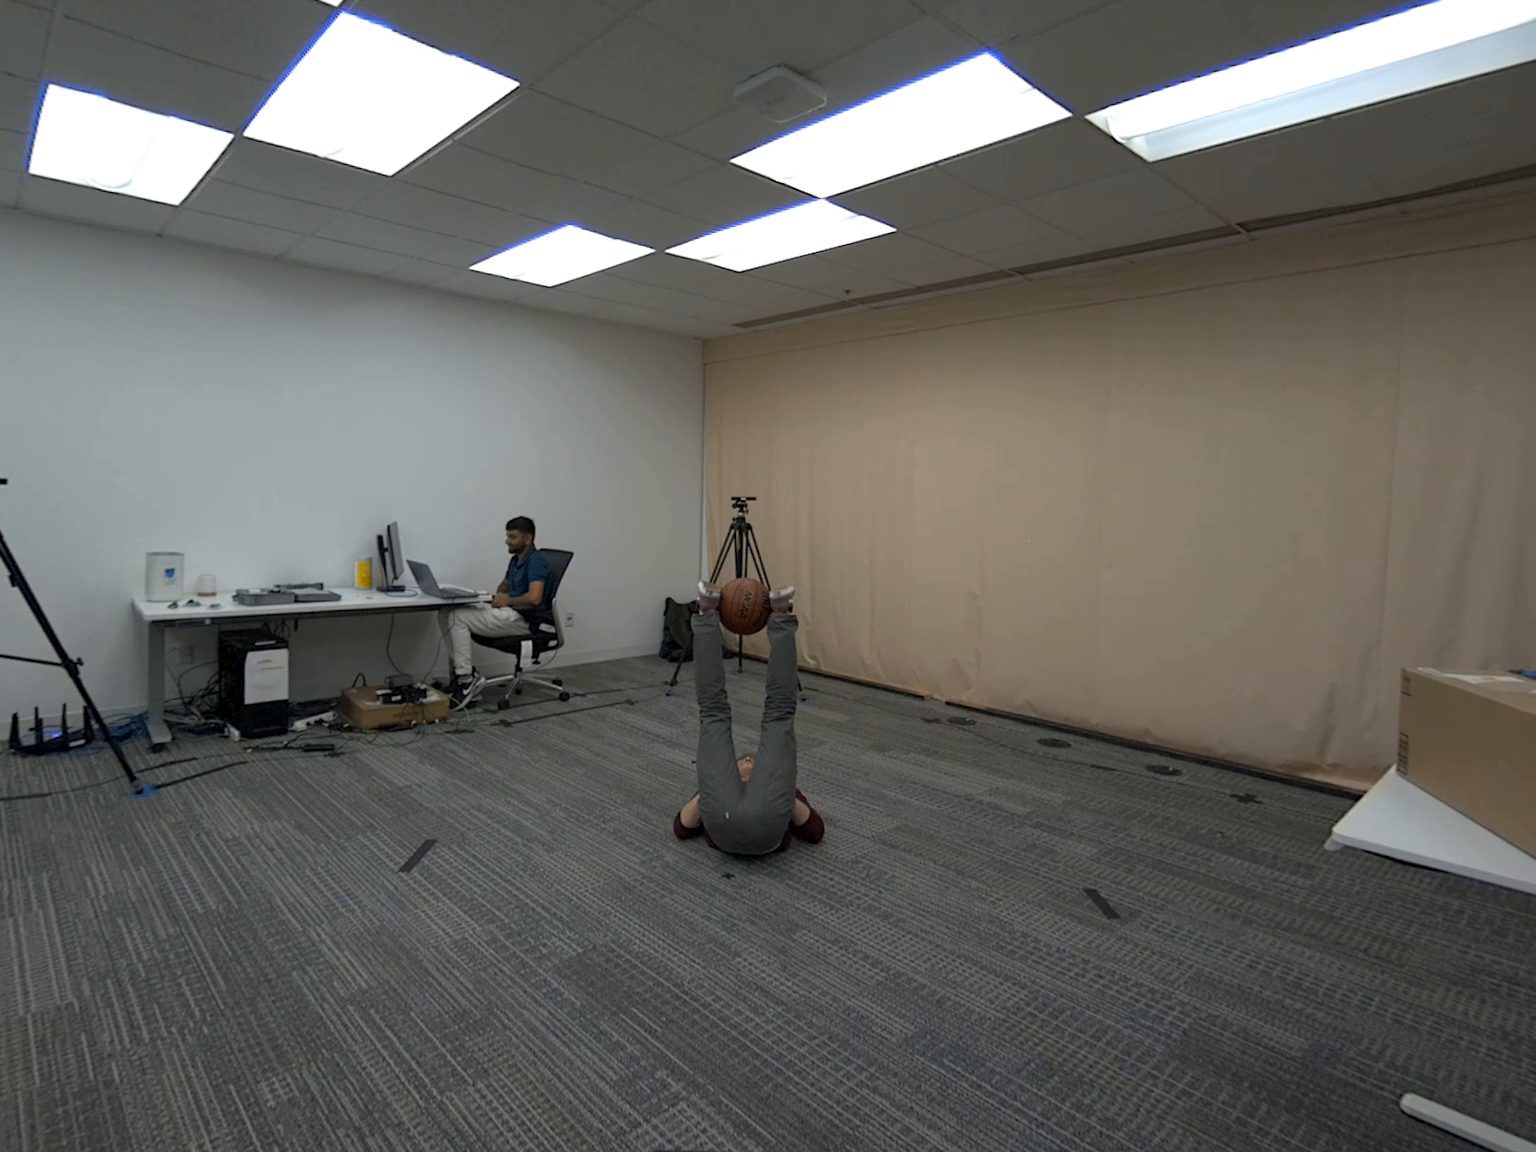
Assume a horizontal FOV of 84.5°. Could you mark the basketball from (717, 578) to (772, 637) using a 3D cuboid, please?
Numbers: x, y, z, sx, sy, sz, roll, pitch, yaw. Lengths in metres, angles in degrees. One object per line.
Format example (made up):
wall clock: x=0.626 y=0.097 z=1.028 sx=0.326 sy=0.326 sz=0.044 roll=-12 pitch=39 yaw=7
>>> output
basketball: x=-0.100 y=0.124 z=3.491 sx=0.236 sy=0.234 sz=0.237 roll=0 pitch=7 yaw=-1
